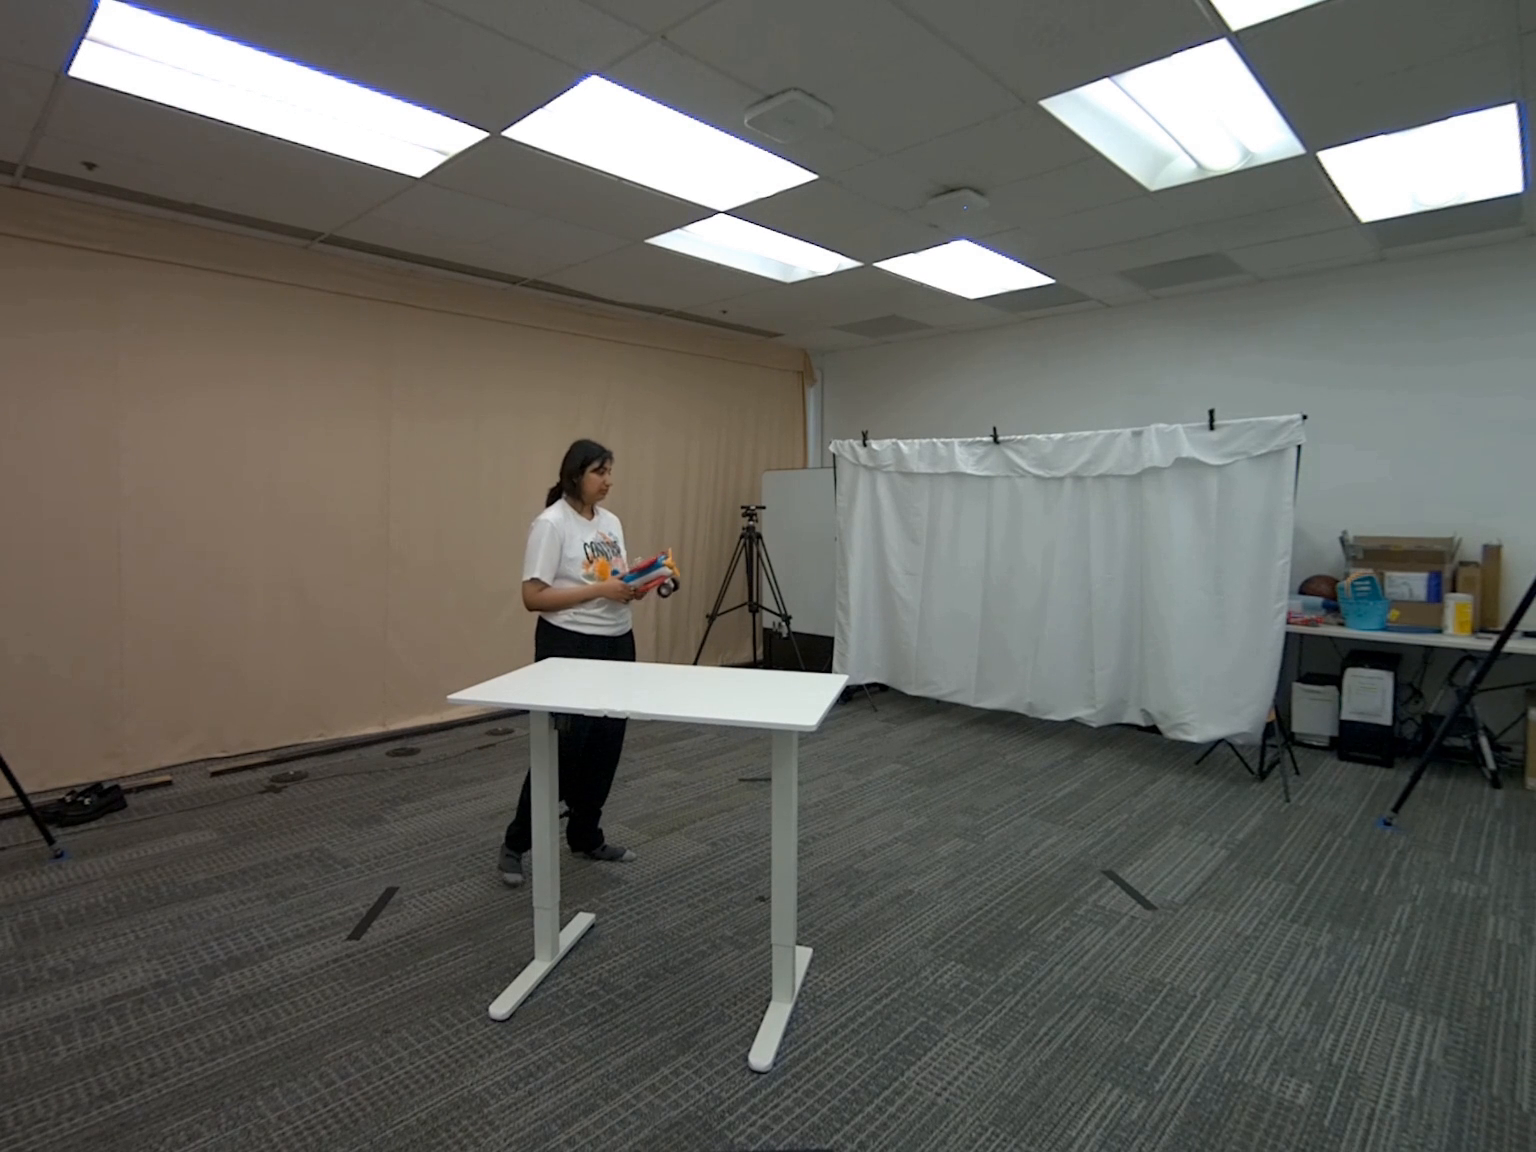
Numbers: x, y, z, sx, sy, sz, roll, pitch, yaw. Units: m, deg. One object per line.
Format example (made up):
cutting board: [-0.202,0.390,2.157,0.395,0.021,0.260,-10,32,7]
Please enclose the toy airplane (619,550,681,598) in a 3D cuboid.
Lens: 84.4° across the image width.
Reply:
toy airplane: [-0.468,0.014,3.121,0.257,0.155,0.256,-17,12,-10]
